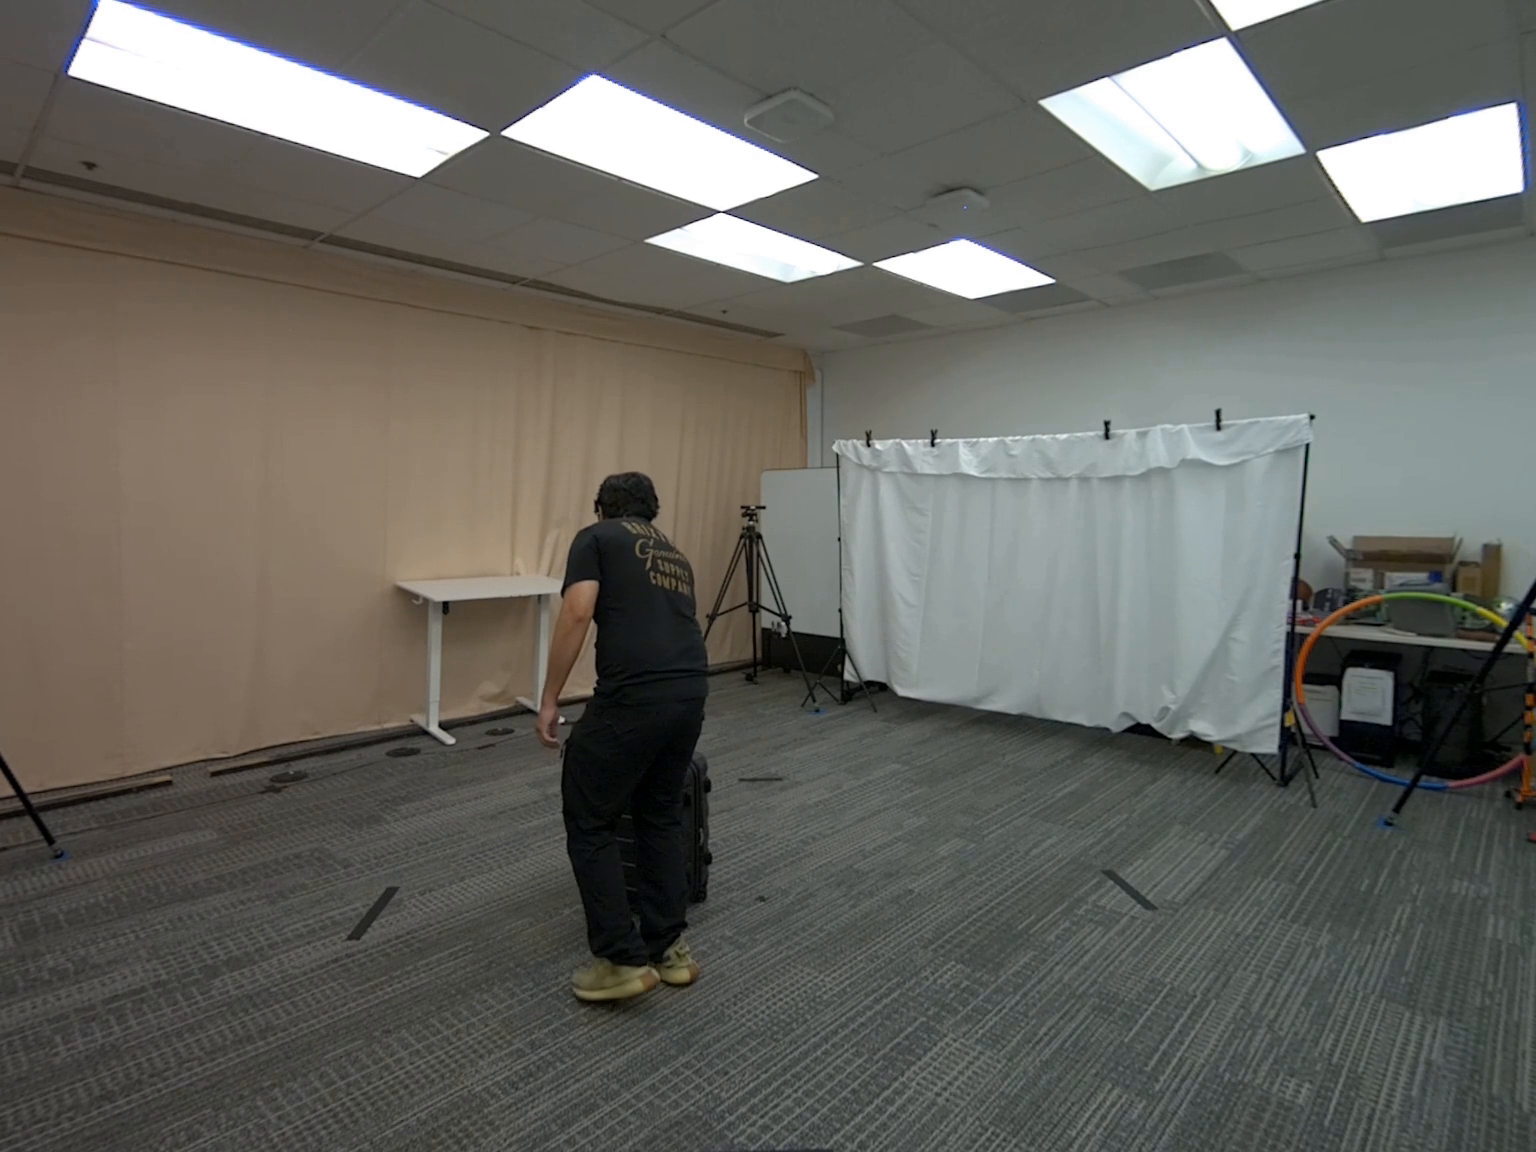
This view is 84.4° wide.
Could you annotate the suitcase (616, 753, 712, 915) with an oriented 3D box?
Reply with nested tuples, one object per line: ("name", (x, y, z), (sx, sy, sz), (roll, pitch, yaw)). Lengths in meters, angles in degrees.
("suitcase", (-0.401, 0.877, 2.932), (0.385, 0.549, 0.242), (3, 1, 24))
